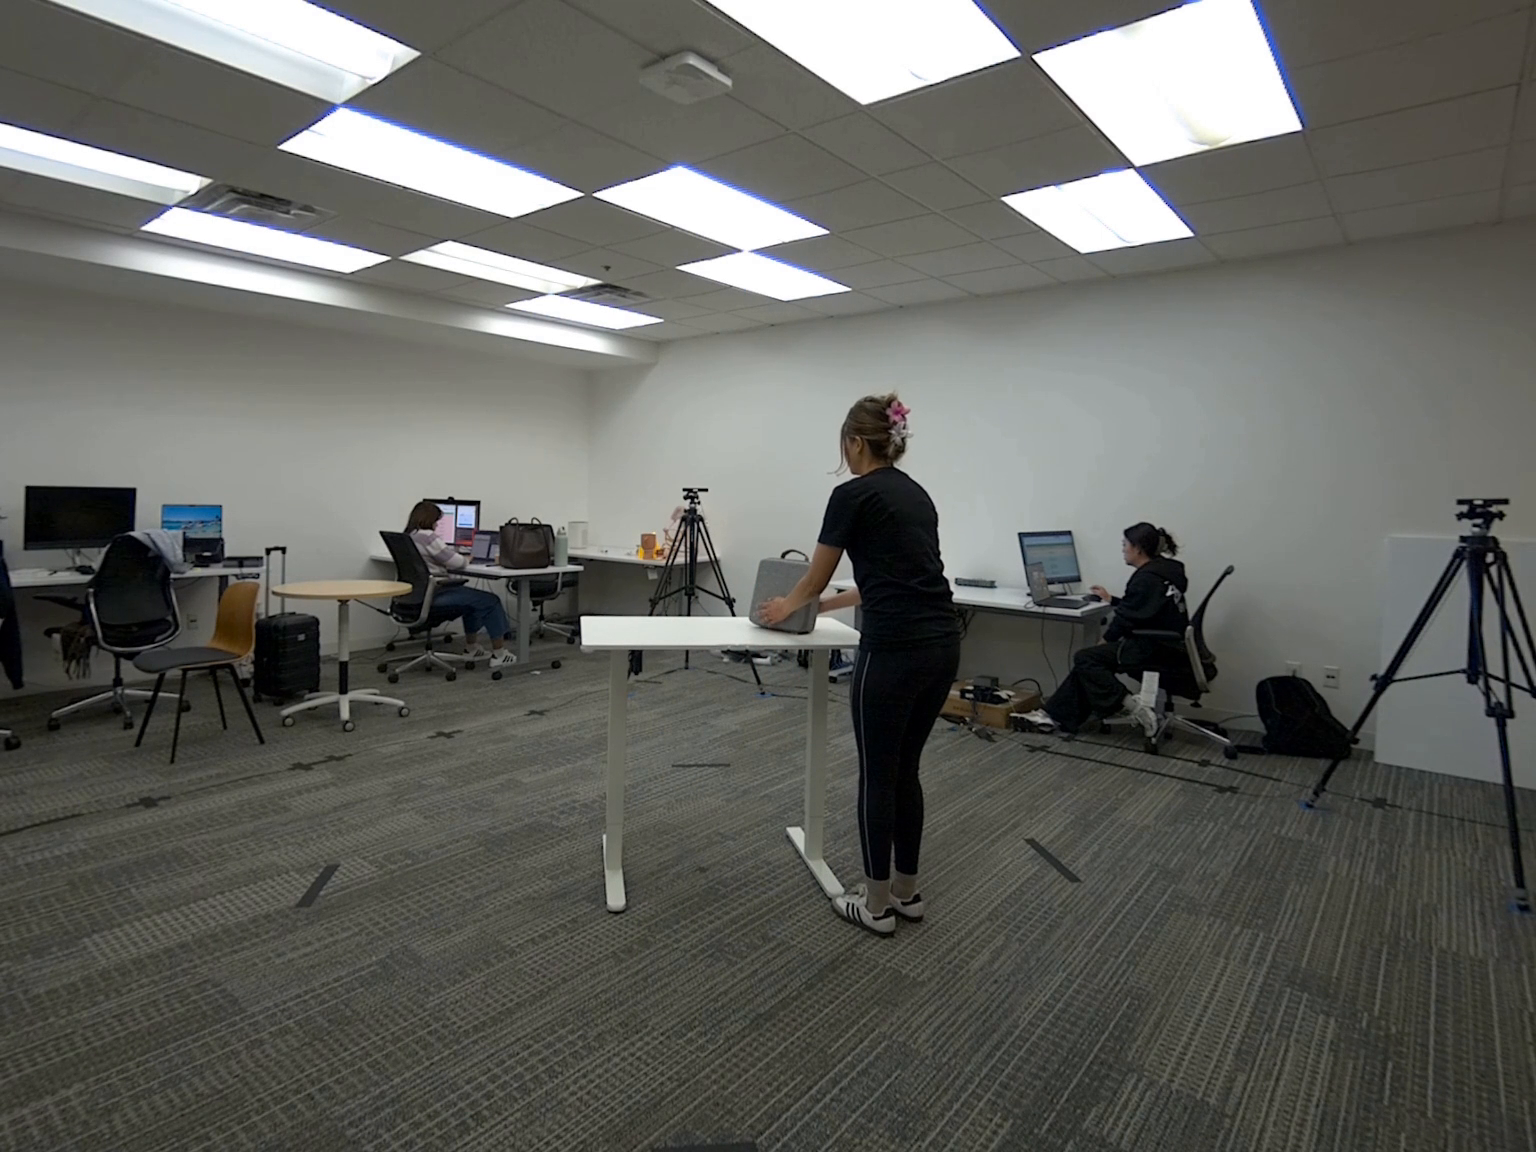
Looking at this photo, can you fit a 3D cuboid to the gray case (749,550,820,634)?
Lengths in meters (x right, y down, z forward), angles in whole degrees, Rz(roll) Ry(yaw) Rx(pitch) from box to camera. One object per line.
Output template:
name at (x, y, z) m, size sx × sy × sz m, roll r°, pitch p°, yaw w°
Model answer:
gray case at (0.057, 0.063, 3.122) m, size 0.266 × 0.261 × 0.100 m, roll 7°, pitch -6°, yaw 42°
